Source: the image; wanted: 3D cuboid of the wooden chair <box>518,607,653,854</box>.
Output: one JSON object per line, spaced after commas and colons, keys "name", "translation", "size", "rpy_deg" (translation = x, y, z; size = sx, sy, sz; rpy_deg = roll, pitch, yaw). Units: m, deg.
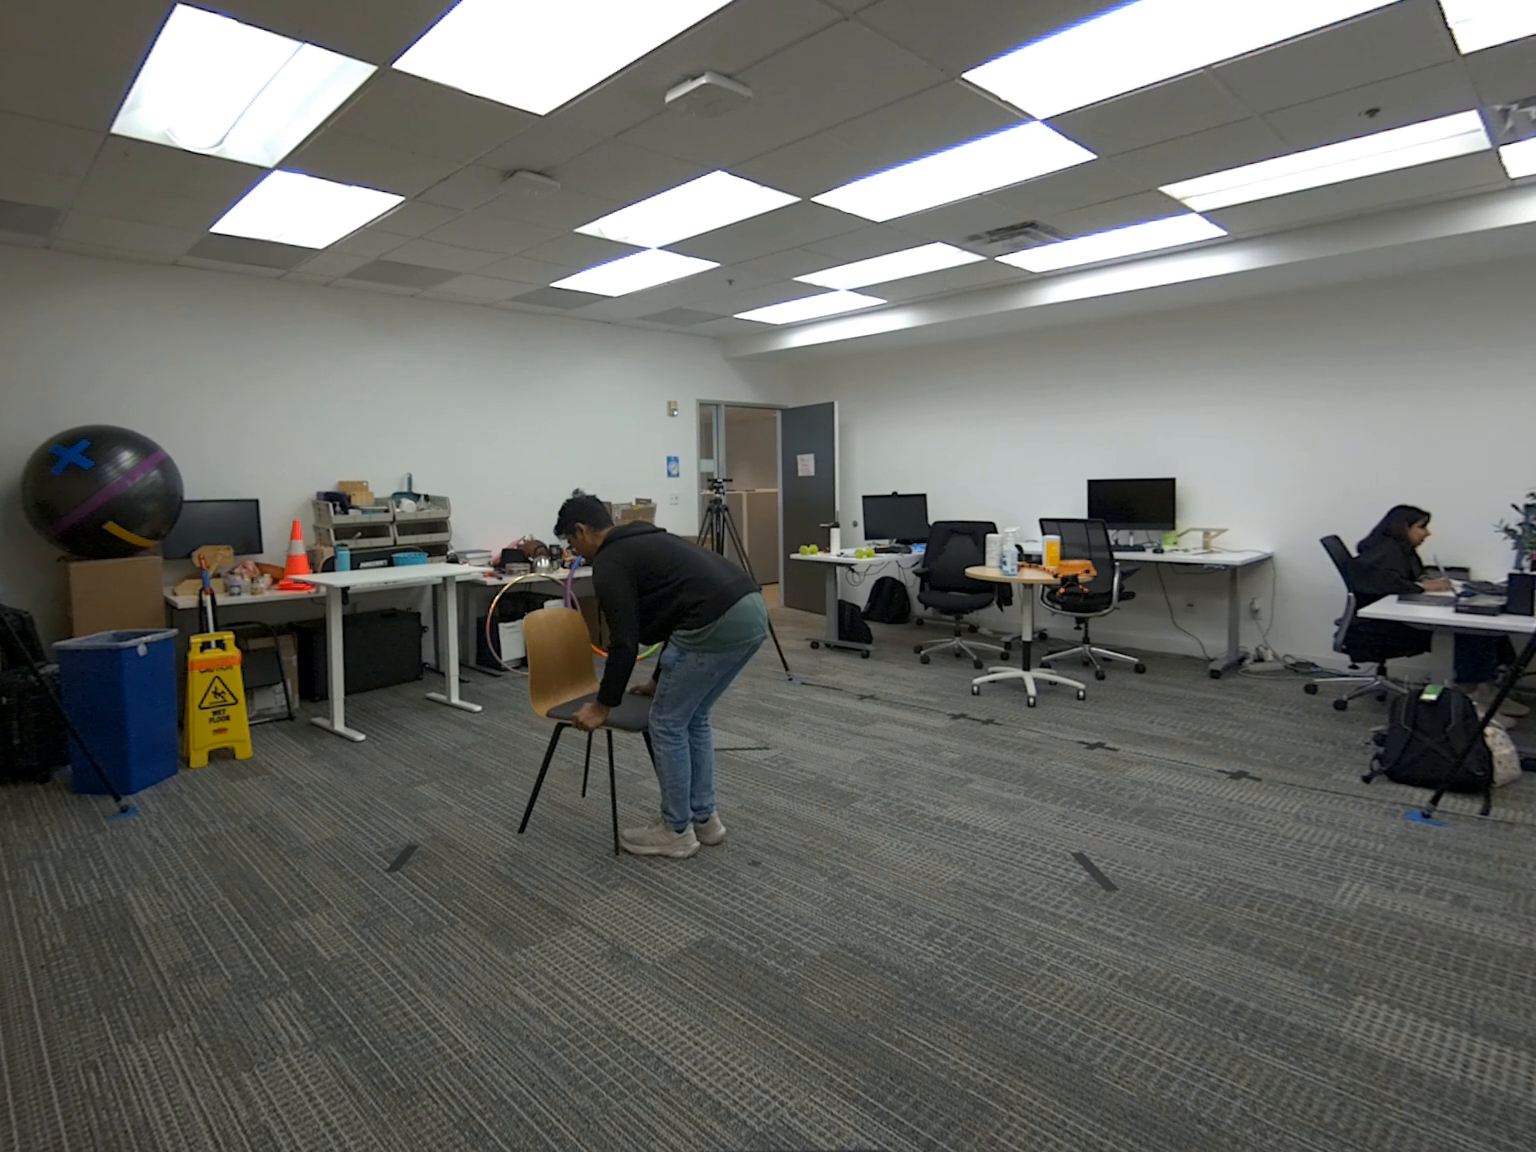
{"name": "wooden chair", "translation": [-0.663, 0.557, 3.386], "size": [0.534, 0.875, 0.469], "rpy_deg": [-2, 3, 24]}
